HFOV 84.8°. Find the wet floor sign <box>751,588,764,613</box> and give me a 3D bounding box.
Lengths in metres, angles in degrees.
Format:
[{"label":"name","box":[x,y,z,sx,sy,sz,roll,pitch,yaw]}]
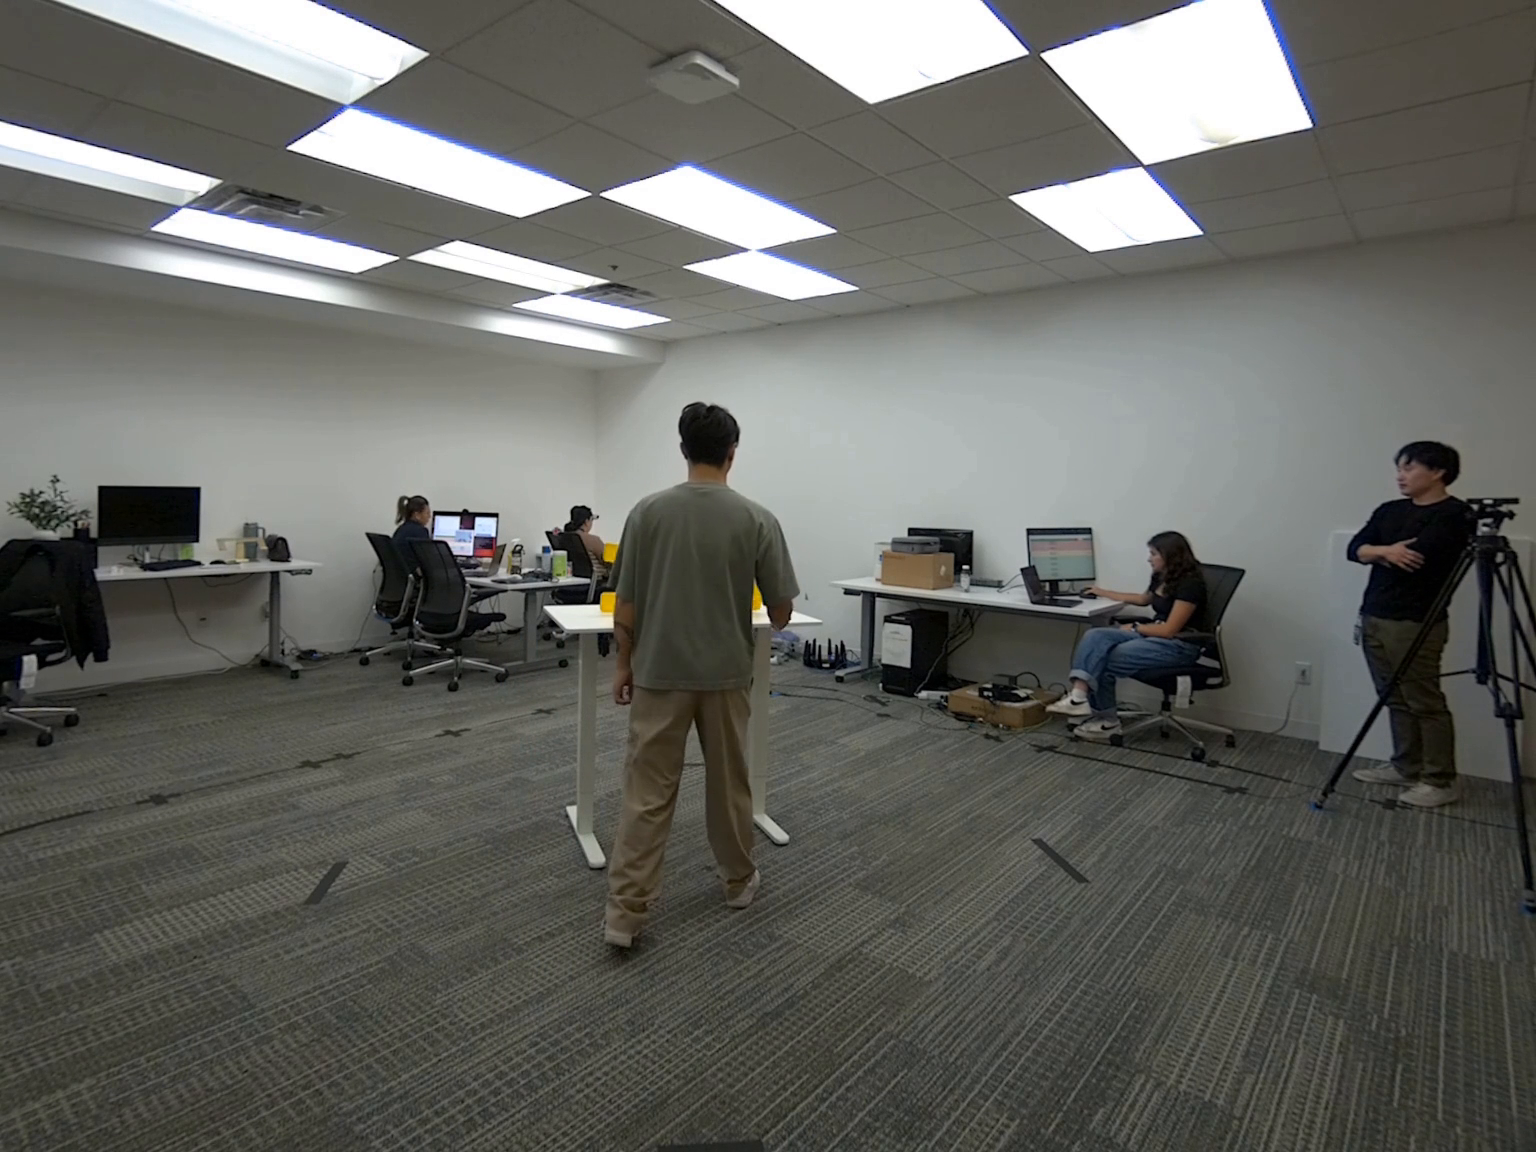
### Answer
[{"label":"wet floor sign","box":[-0.333,0.030,3.425,0.632,0.282,0.296,3,3,-20]}]
